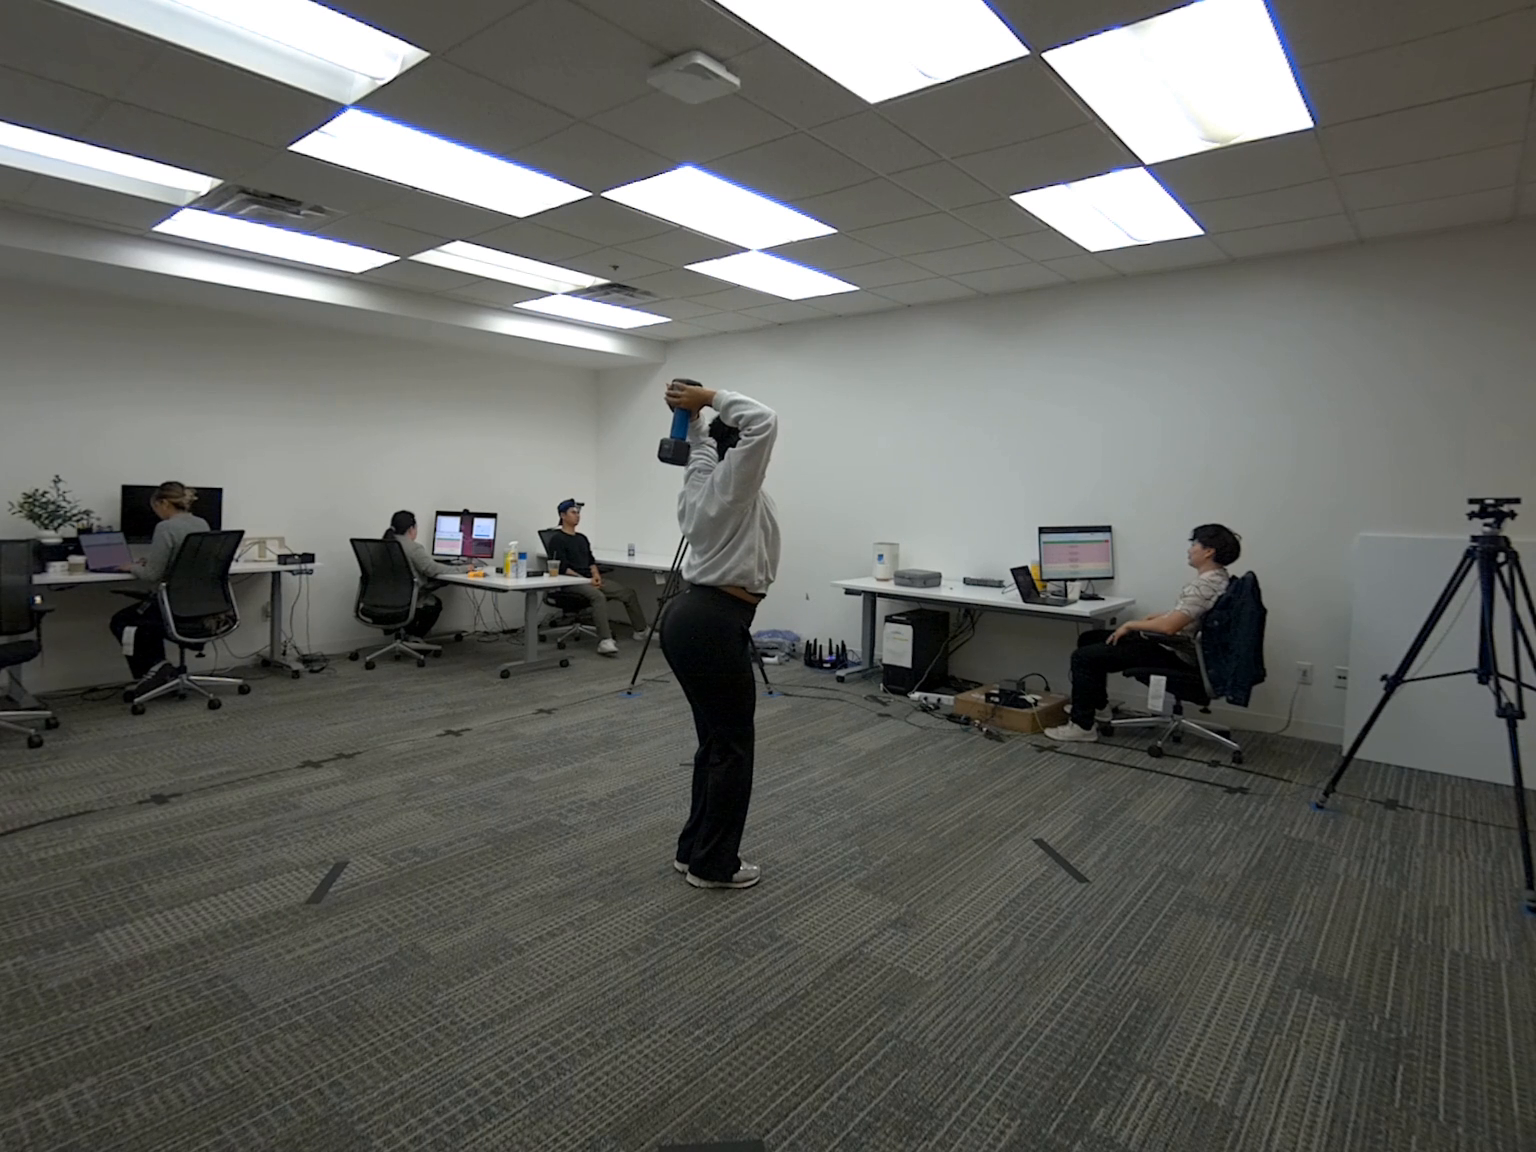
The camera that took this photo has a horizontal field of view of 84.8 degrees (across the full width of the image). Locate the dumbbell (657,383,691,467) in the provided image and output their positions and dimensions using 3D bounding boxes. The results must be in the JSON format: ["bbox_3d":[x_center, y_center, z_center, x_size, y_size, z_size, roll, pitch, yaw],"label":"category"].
[{"bbox_3d":[-0.317,-0.545,2.964,0.127,0.294,0.105,9,-5,30],"label":"dumbbell"}]
